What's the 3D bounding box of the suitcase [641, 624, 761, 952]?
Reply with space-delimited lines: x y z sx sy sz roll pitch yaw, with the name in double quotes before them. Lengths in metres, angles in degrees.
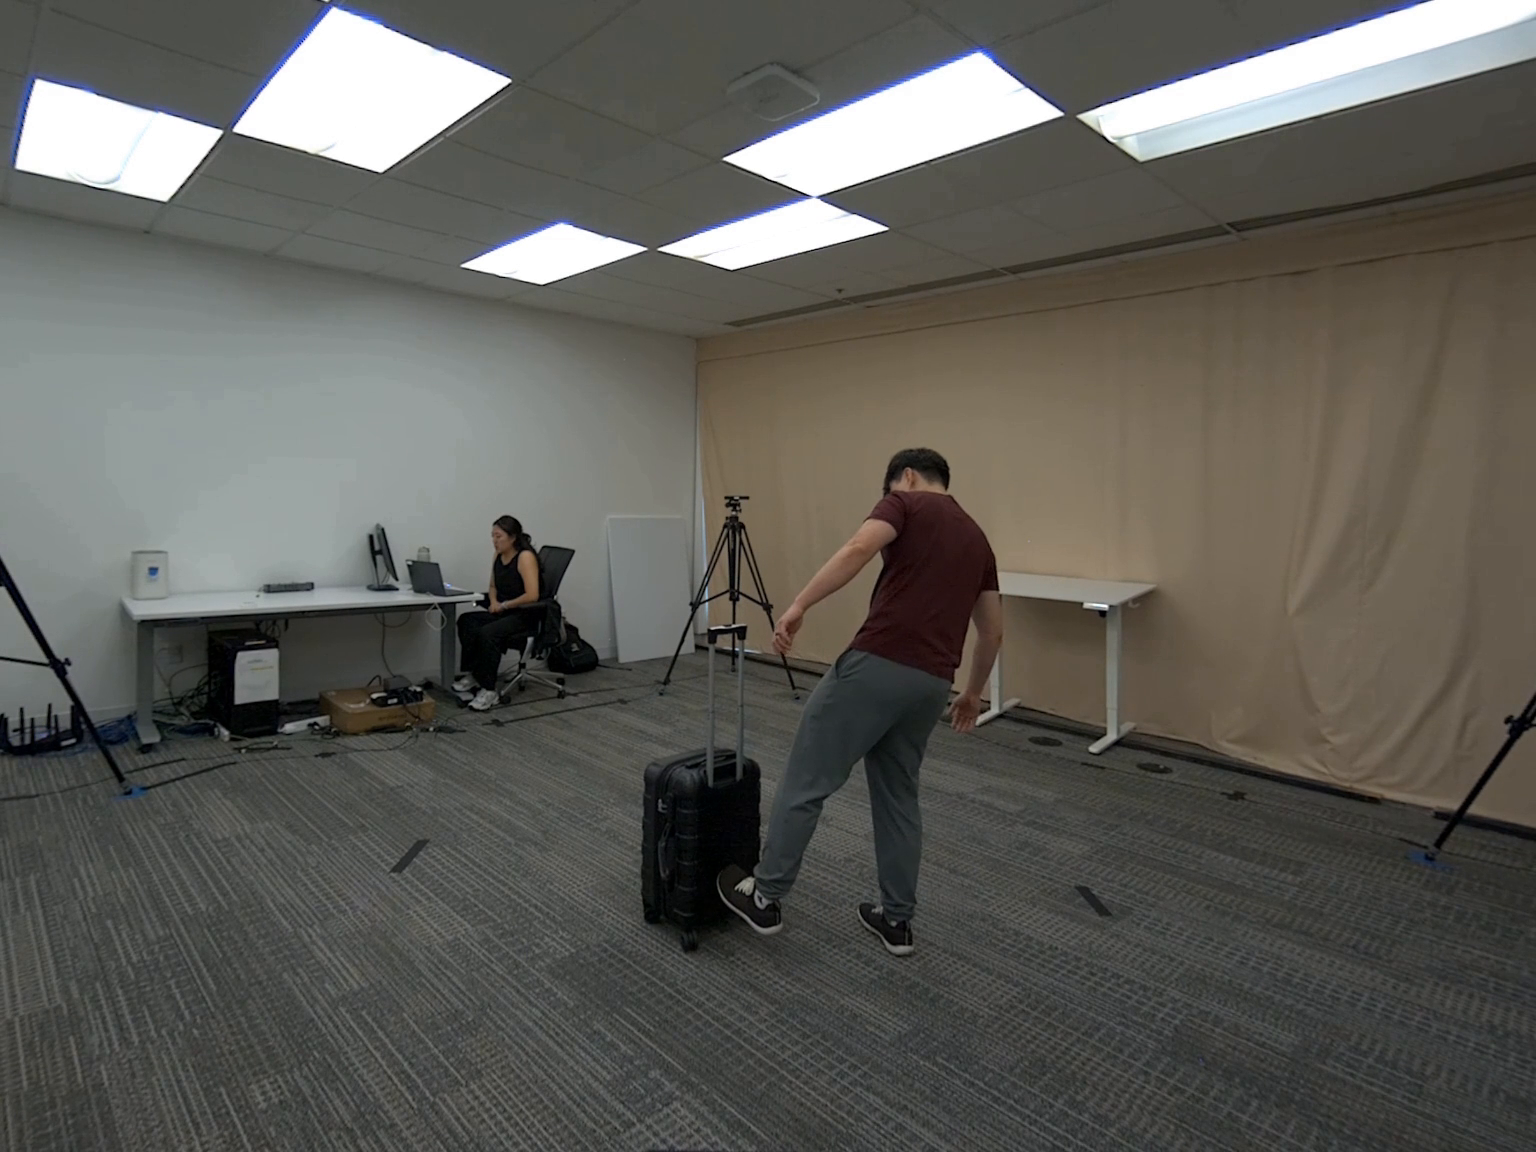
"suitcase" -0.225 0.659 2.758 0.375 0.977 0.263 -2 3 -40
